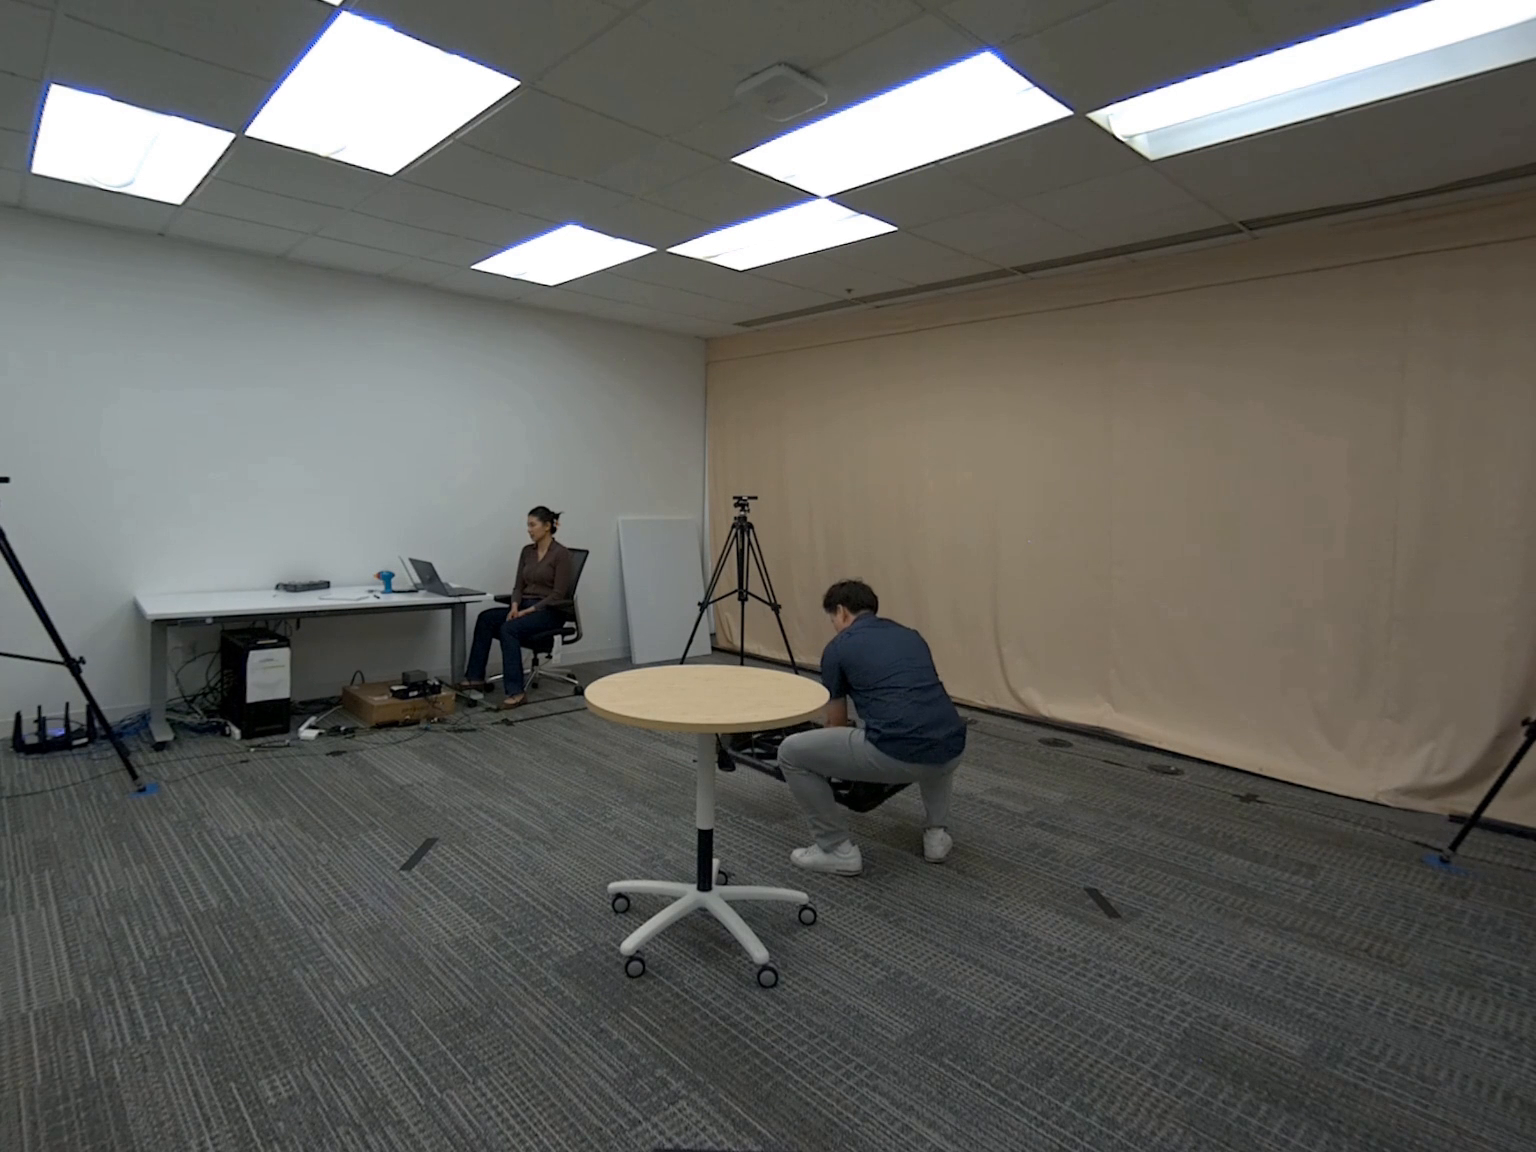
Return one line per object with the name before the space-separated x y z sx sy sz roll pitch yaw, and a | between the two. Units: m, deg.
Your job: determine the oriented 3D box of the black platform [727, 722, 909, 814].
black platform | 0.237 0.749 3.686 0.828 0.142 0.593 13 15 37
